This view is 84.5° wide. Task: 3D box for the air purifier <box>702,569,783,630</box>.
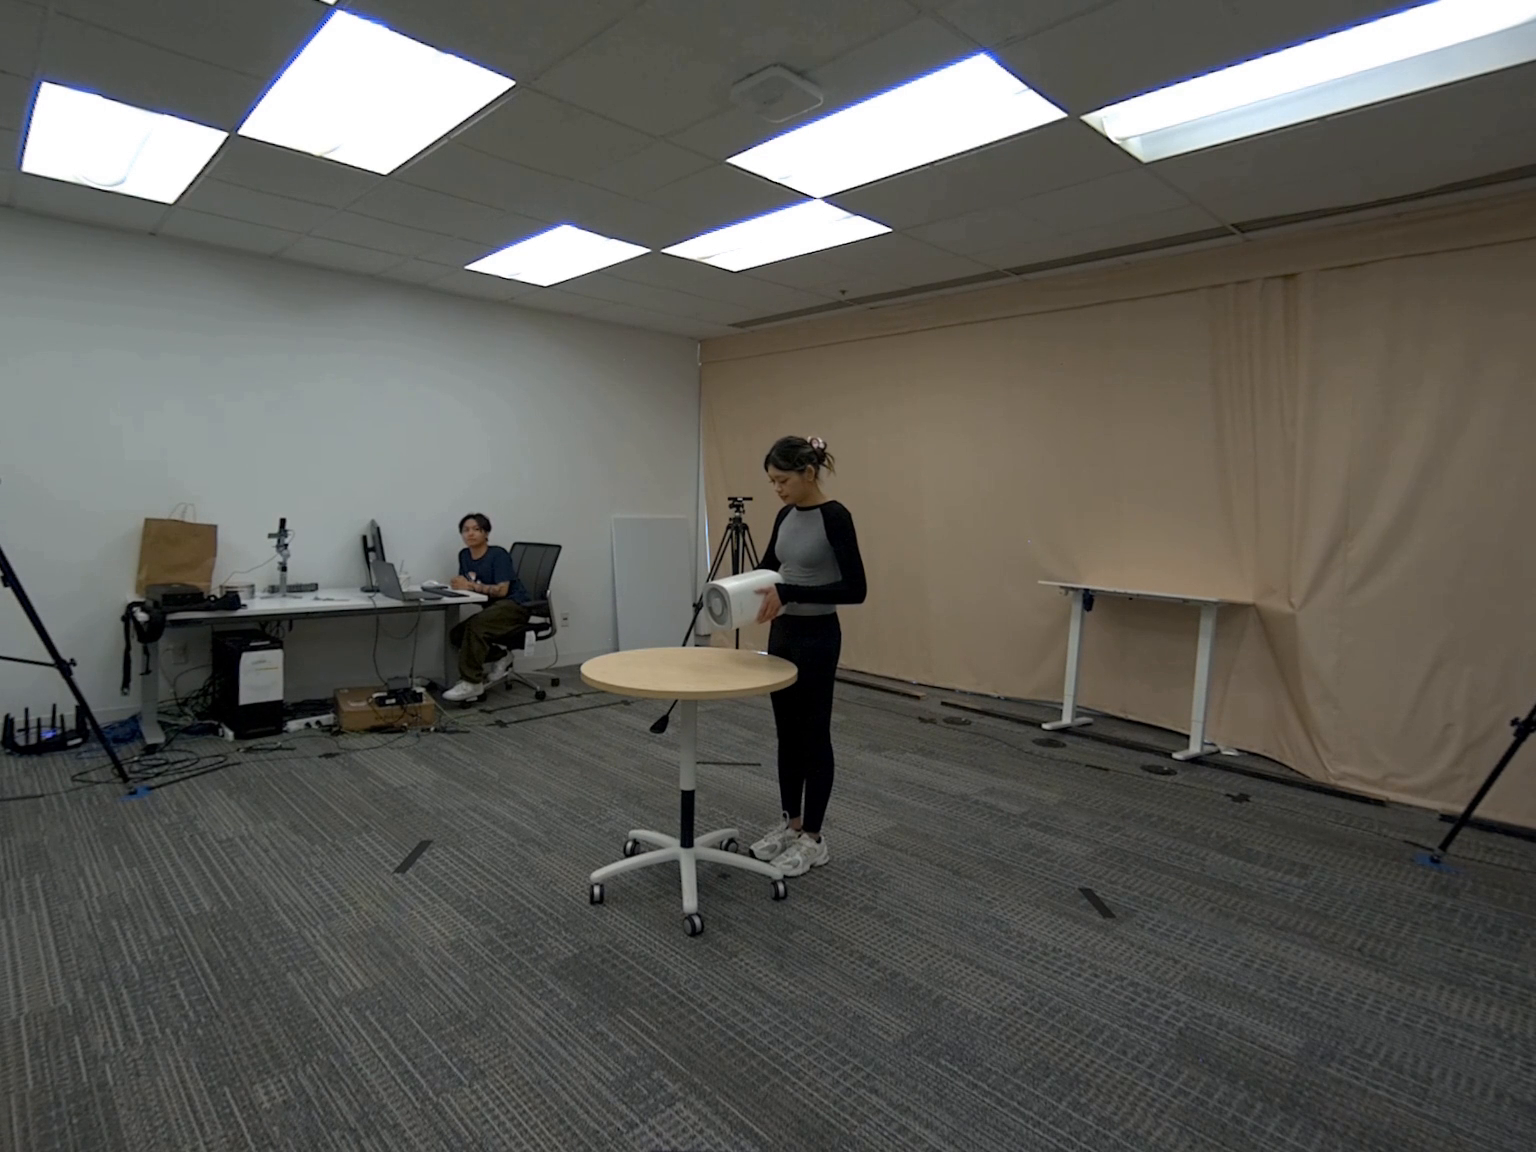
[{"bbox_3d":[-0.092,0.085,3.066,0.261,0.170,0.176,-11,11,-33],"label":"air purifier"}]
